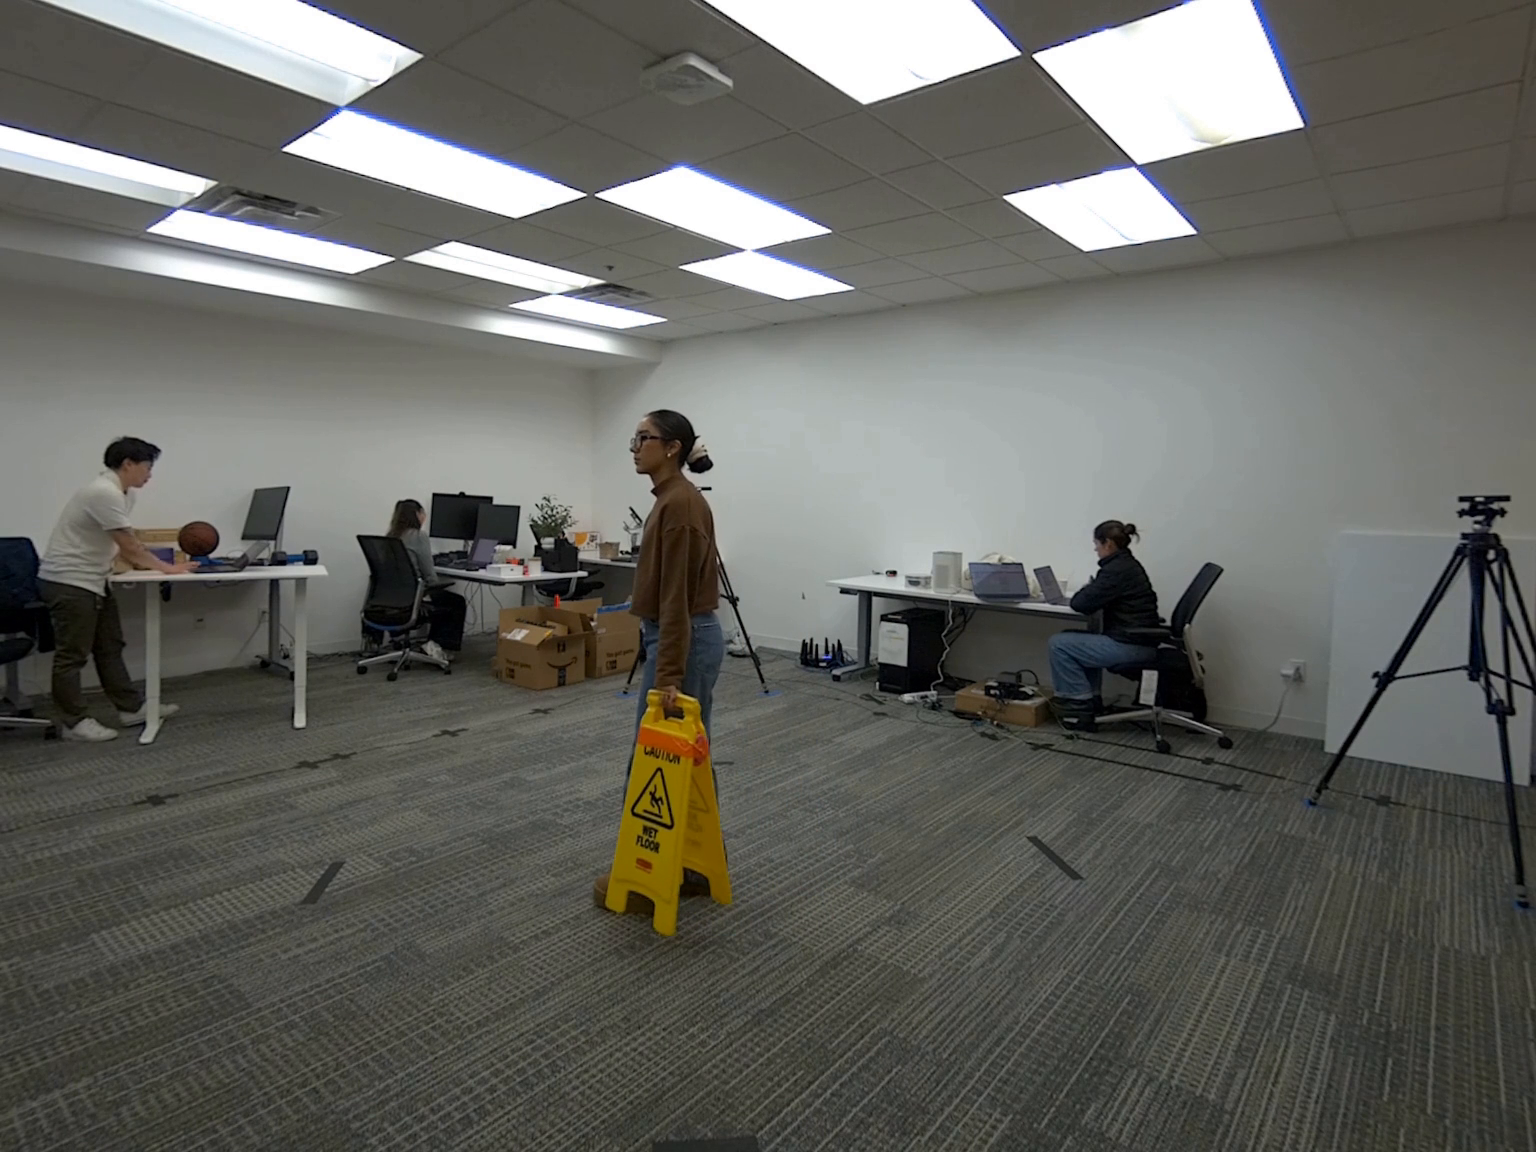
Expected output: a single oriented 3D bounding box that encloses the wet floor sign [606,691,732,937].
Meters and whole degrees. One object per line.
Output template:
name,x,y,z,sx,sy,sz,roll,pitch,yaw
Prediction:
wet floor sign,-0.296,0.674,2.574,0.291,0.645,0.281,3,2,38
